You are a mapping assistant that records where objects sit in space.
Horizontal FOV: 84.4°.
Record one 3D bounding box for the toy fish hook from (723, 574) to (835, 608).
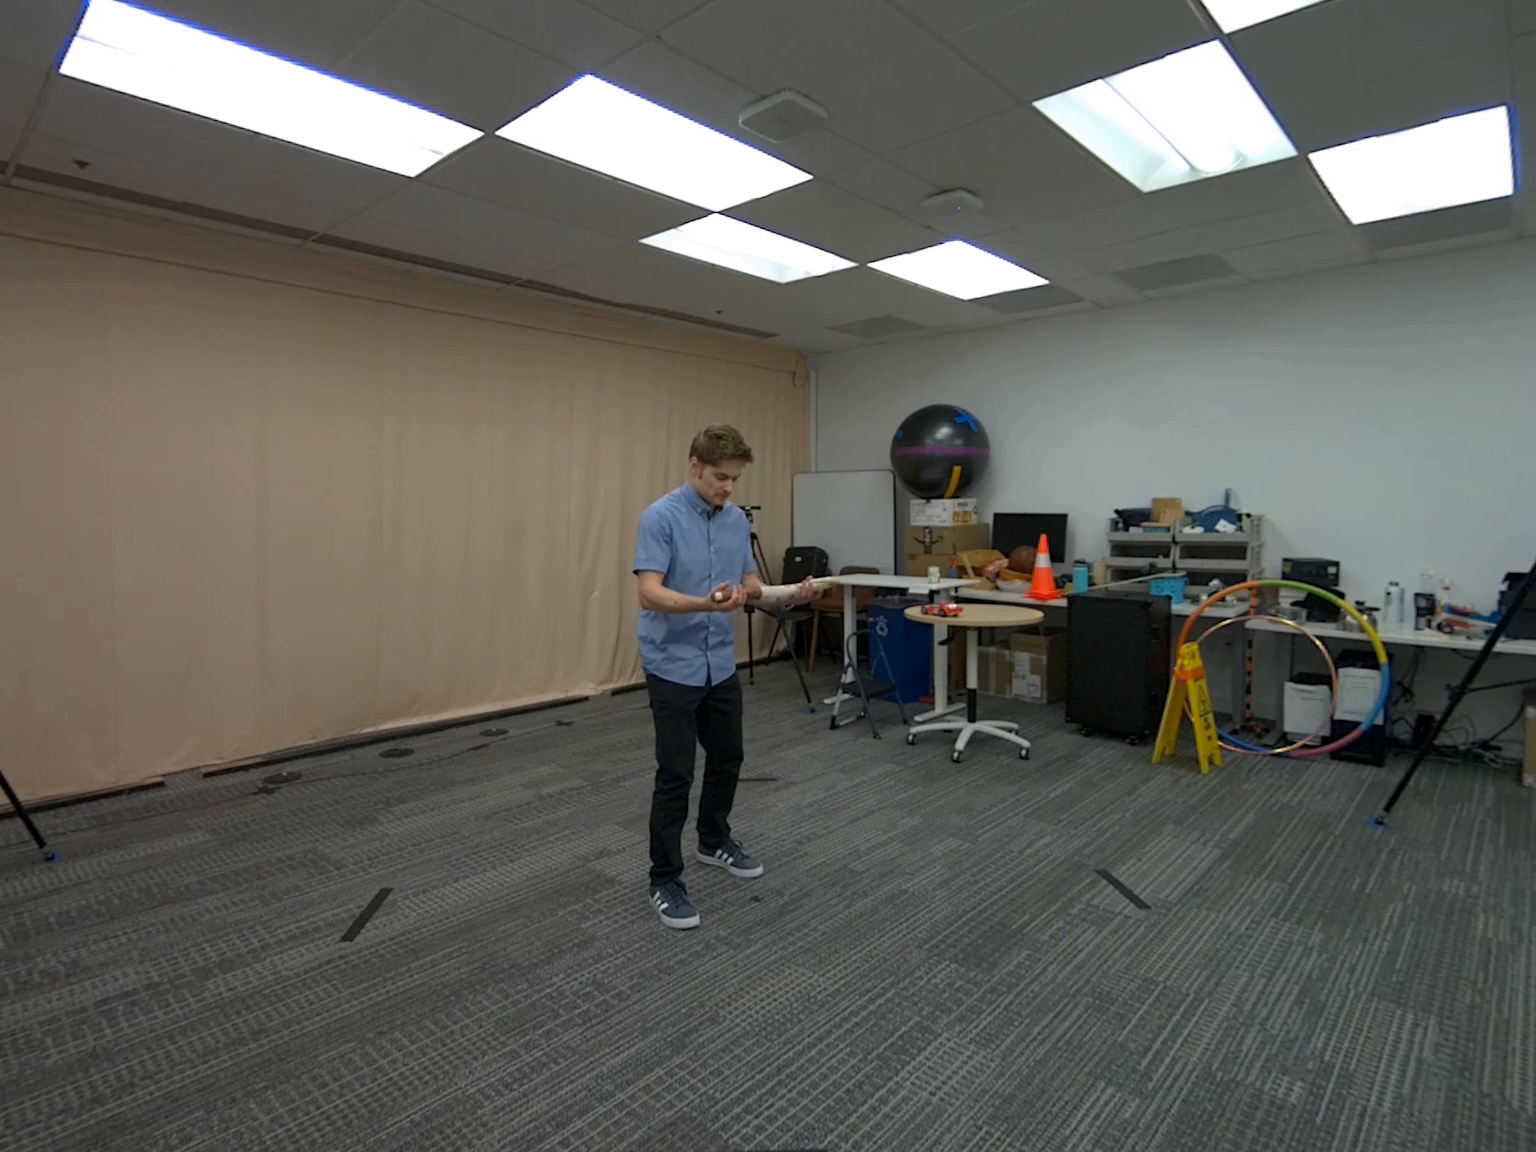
[{"bbox_3d":[0.027,0.051,2.709,0.229,0.049,0.491,-20,-10,32],"label":"toy fish hook"}]
